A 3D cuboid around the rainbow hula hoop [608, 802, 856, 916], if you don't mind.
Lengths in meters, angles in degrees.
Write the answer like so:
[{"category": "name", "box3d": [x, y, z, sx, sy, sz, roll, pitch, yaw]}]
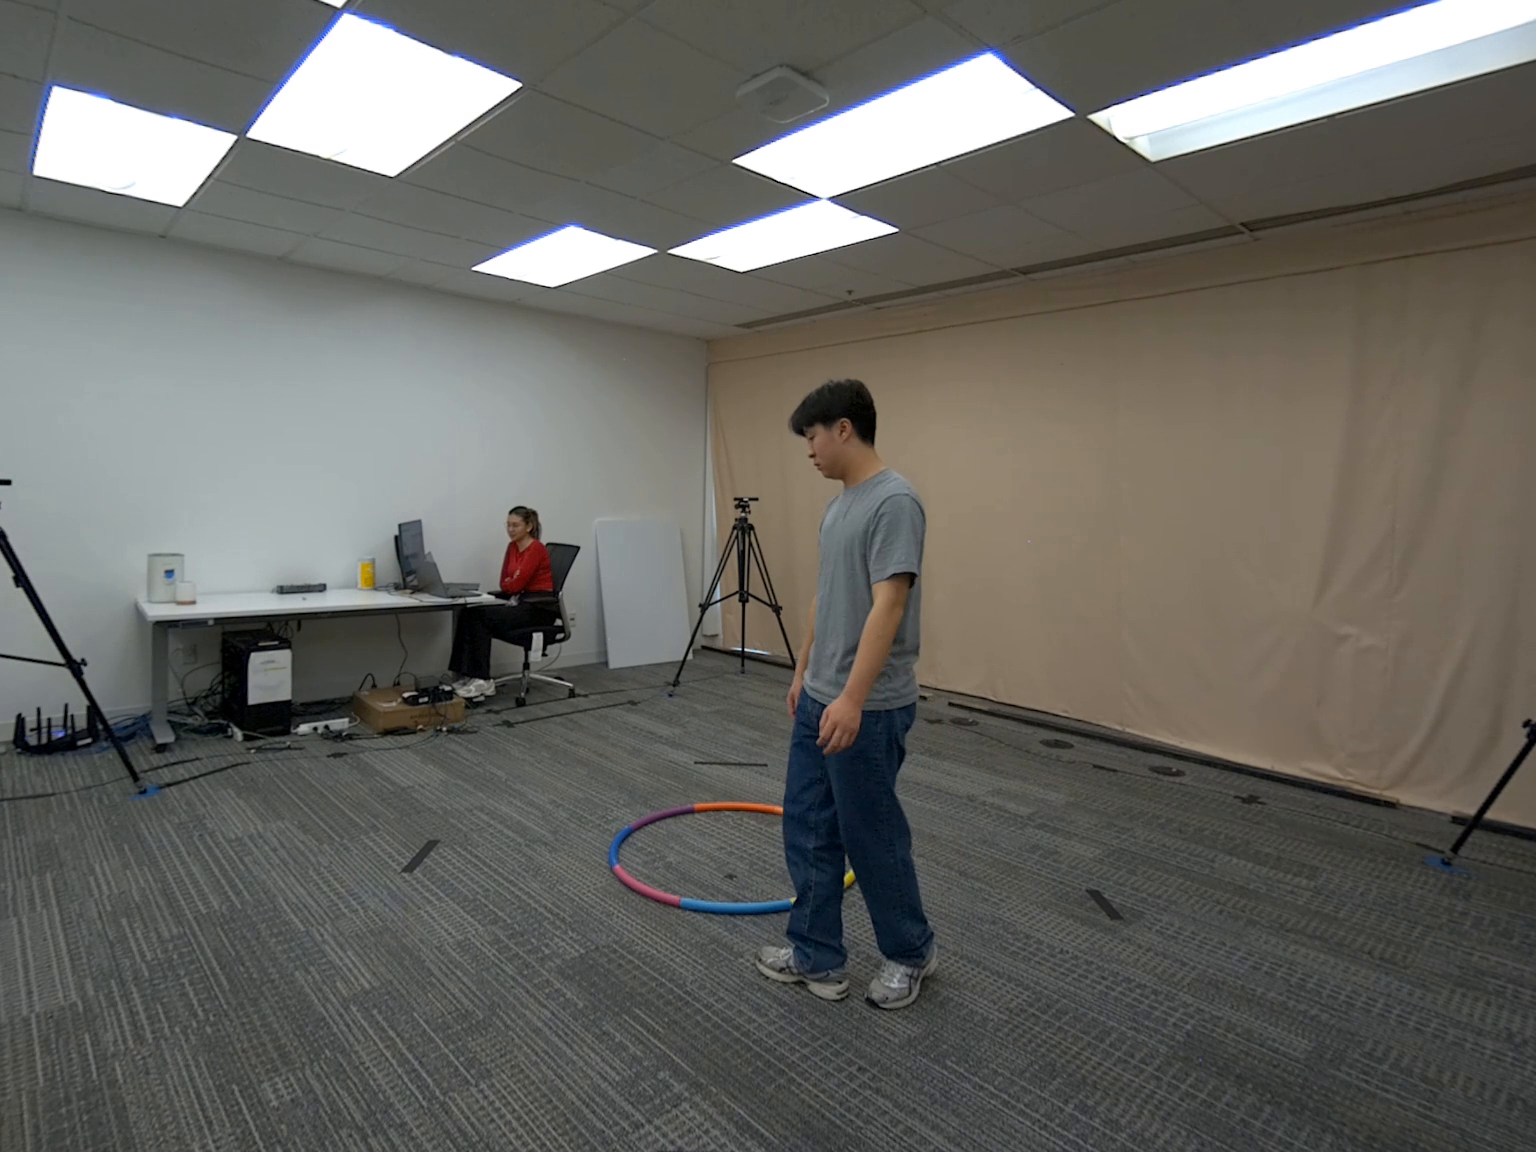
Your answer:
[{"category": "rainbow hula hoop", "box3d": [-0.140, 1.058, 3.303, 0.978, 0.035, 0.982, 1, 5, -1]}]
